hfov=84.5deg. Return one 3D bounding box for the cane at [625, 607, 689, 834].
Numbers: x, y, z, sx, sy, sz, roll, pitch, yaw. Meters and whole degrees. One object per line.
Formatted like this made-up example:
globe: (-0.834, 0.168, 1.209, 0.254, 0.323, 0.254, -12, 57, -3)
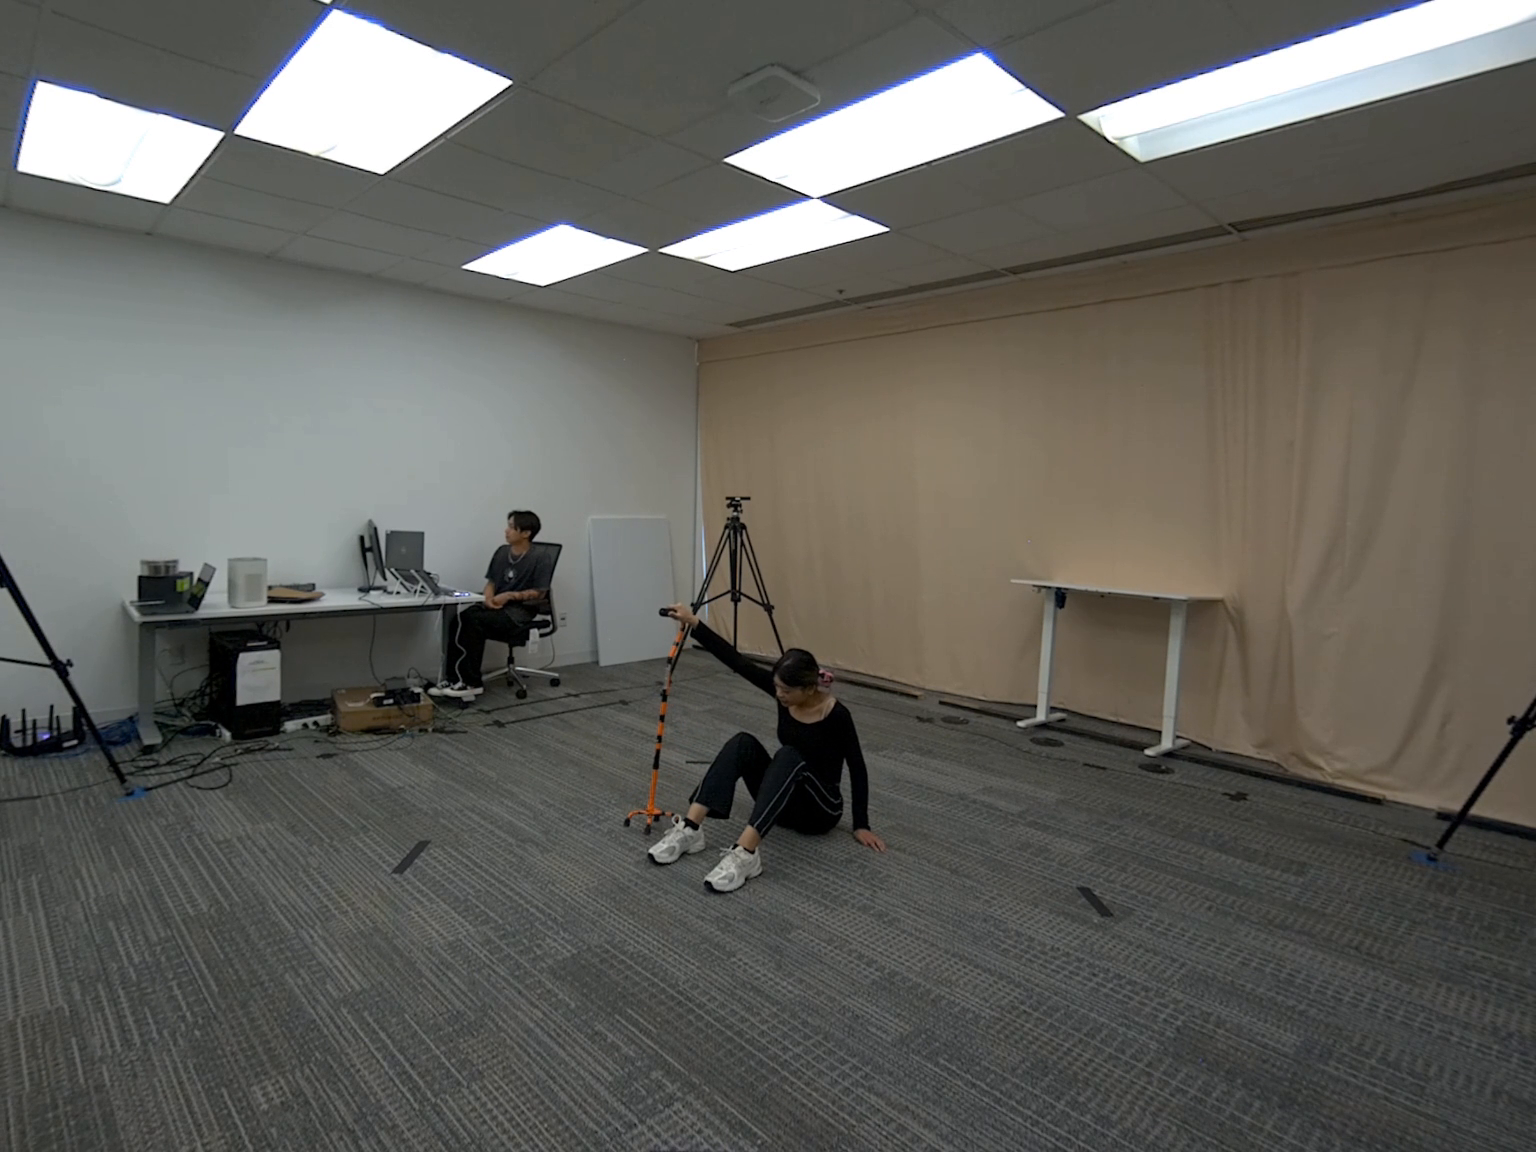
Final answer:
cane: (-0.433, 0.591, 3.538, 0.155, 0.909, 0.201, 5, -3, 38)
